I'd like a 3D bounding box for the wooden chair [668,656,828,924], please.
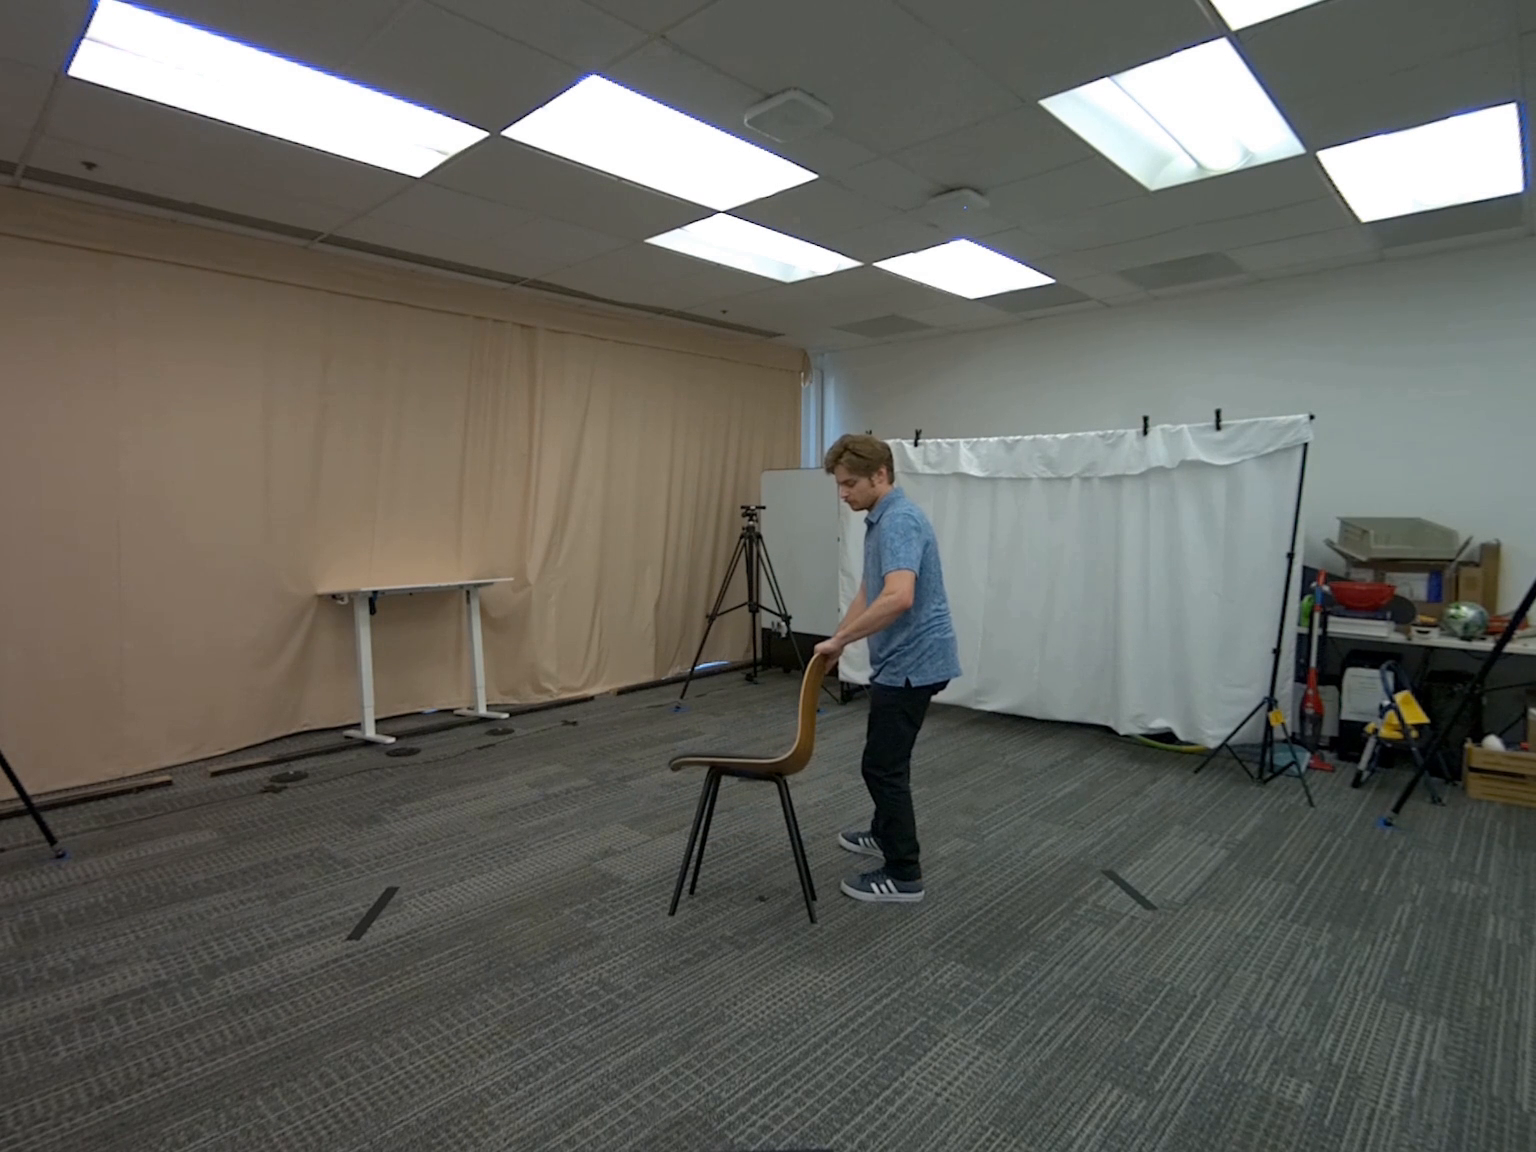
[{"bbox_3d":[-0.069,0.681,2.862,0.527,0.883,0.471,4,-13,6],"label":"wooden chair"}]
